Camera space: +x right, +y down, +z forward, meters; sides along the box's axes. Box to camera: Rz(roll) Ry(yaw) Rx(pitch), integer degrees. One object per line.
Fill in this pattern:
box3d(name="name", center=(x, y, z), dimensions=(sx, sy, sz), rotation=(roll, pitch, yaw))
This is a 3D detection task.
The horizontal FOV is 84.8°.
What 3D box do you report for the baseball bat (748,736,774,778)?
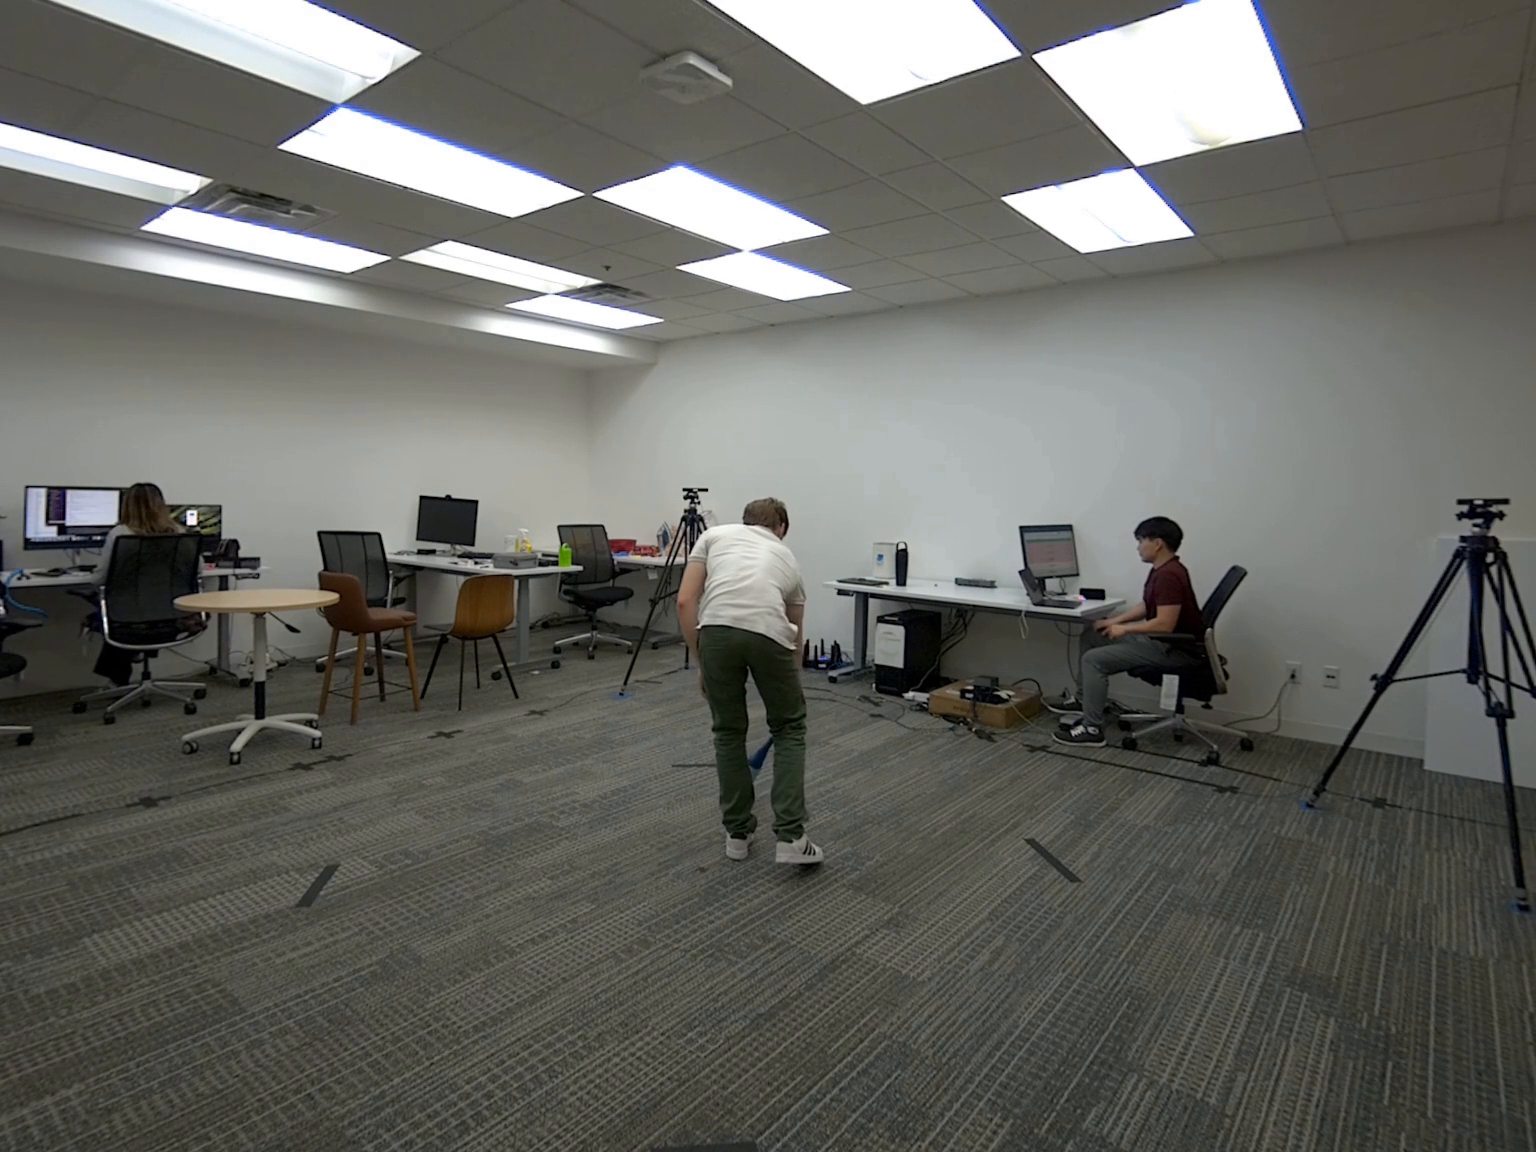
box3d(name="baseball bat", center=(-0.048, 0.795, 3.684), dimensions=(0.087, 0.538, 0.092), rotation=(18, 40, -17))
